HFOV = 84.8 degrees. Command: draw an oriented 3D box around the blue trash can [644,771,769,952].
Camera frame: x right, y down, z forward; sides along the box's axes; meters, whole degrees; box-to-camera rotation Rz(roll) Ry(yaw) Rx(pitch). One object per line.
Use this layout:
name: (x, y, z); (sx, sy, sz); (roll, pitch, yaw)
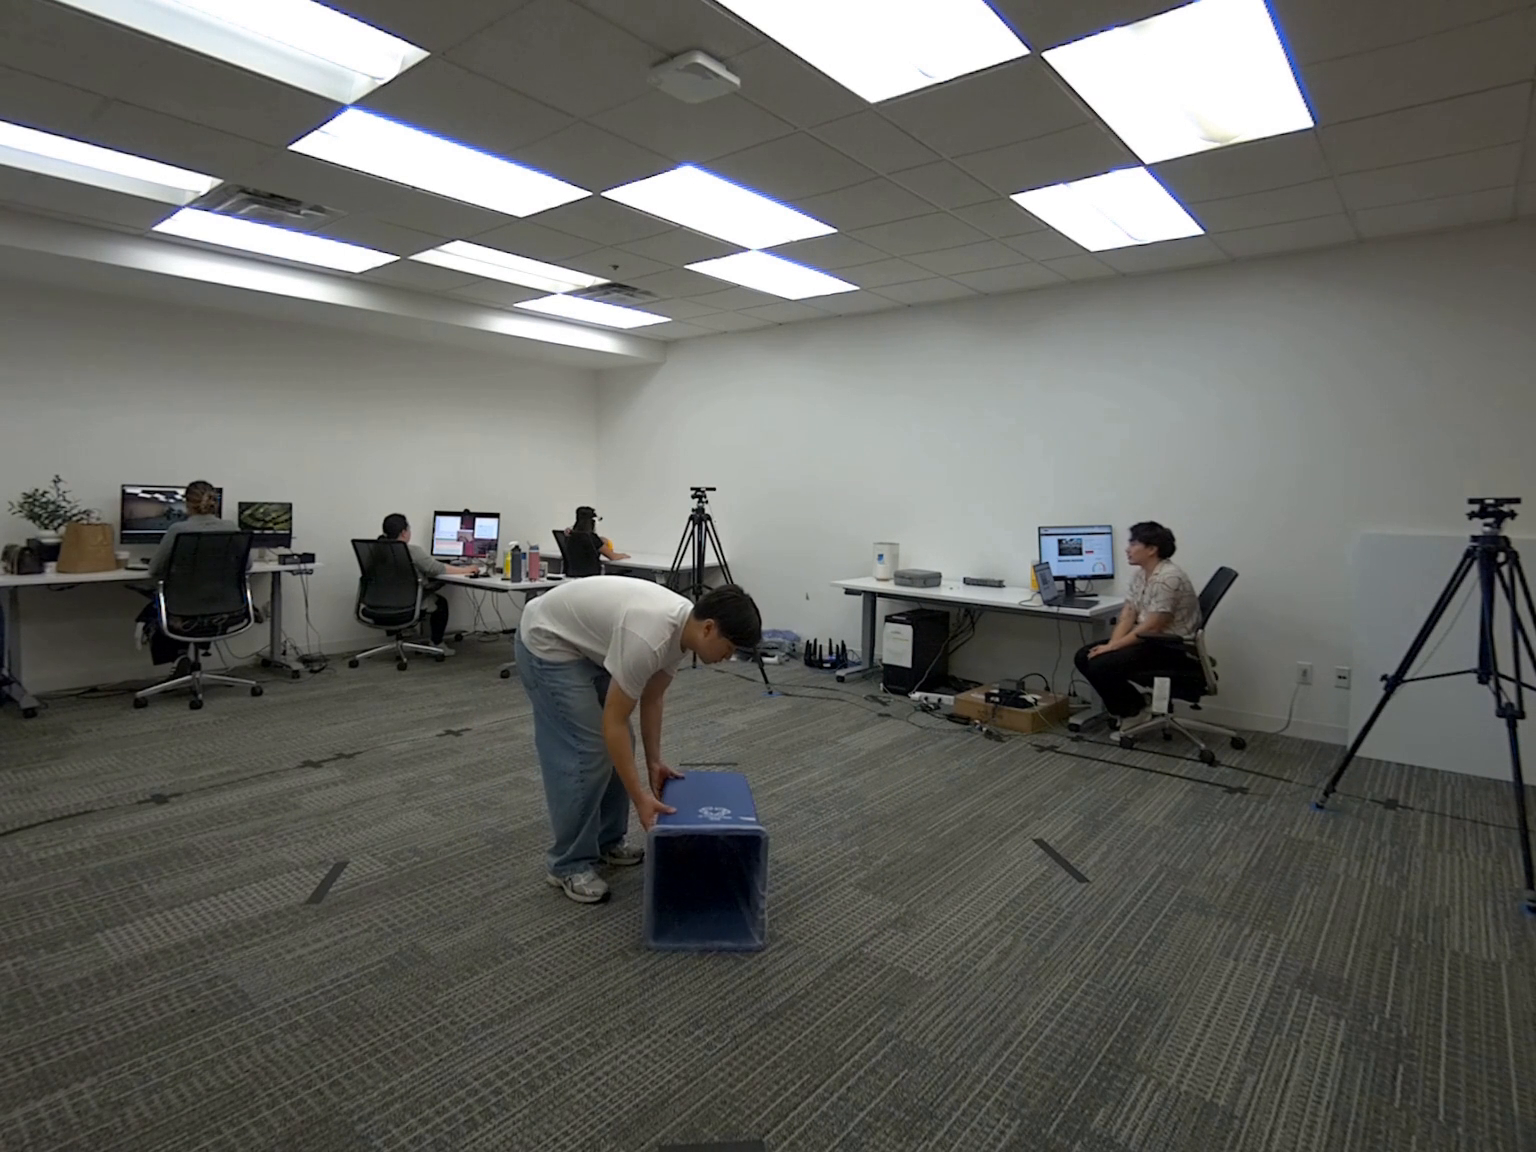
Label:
blue trash can: (-0.221, 0.921, 2.893); (0.373, 0.378, 0.717); (1, 2, -5)
